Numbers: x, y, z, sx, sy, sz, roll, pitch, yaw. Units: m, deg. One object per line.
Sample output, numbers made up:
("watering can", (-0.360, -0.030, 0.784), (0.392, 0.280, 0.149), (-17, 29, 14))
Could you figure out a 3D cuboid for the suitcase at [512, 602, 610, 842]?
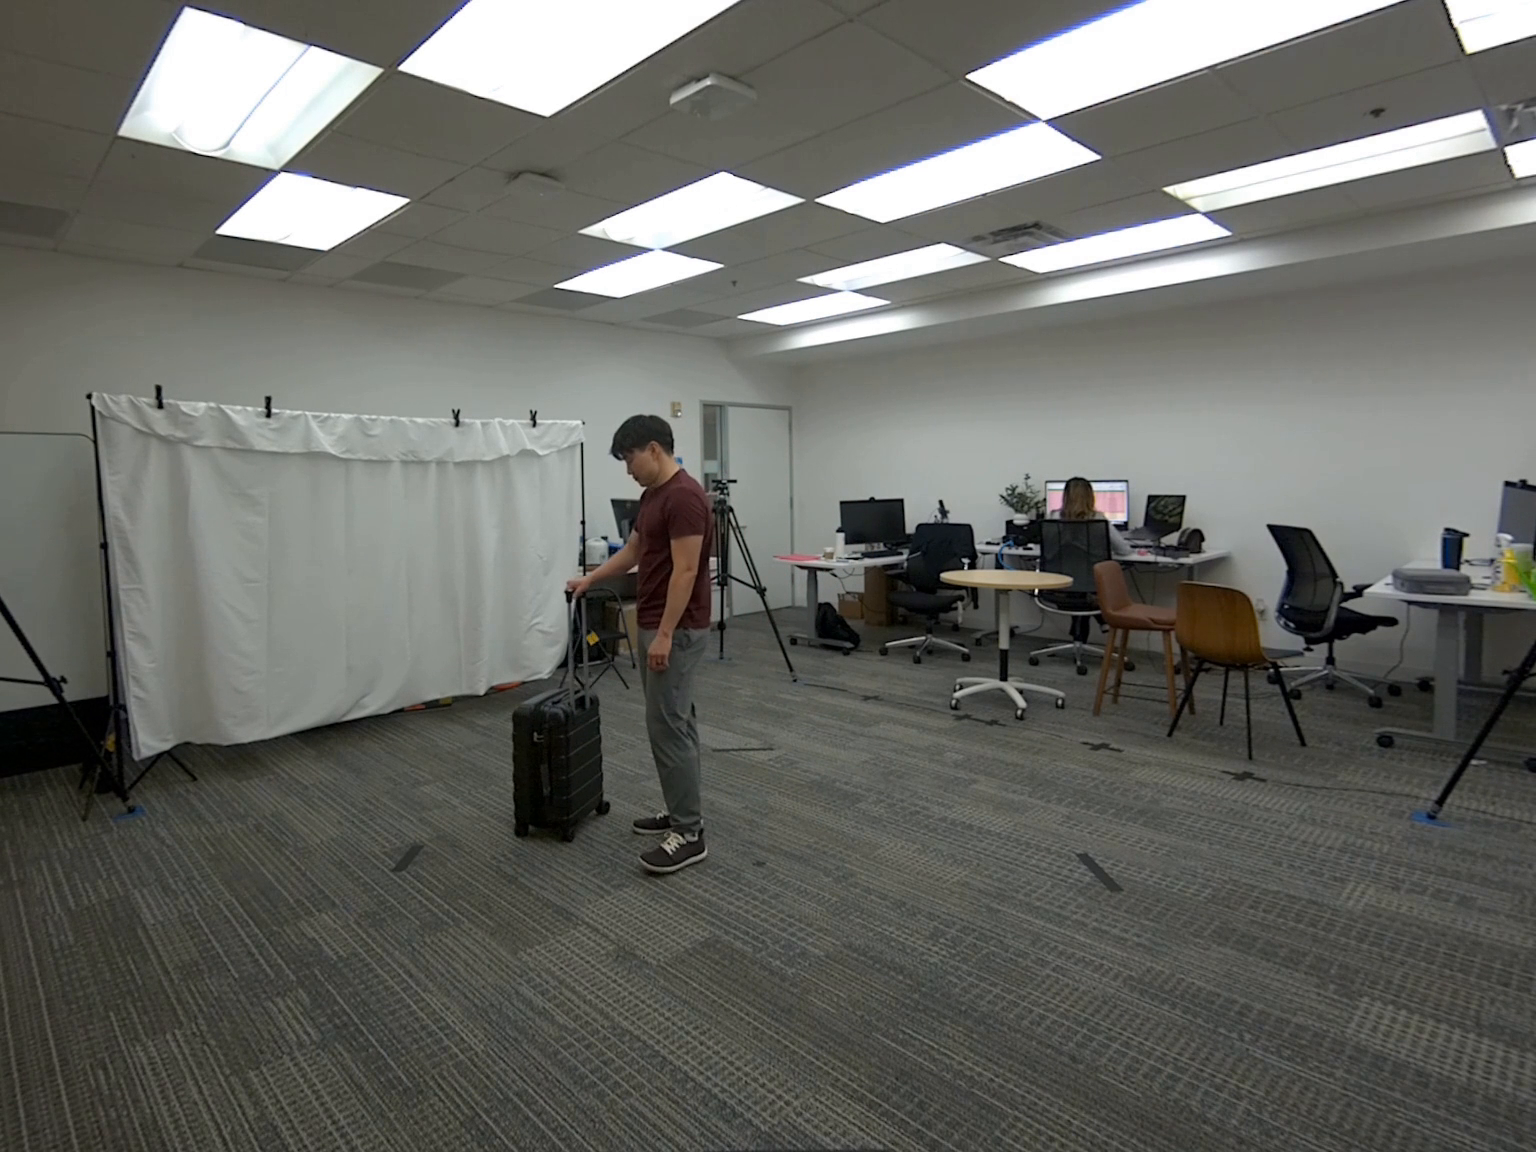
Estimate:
("suitcase", (-0.869, 0.549, 3.474), (0.261, 0.975, 0.380), (-3, 4, 15))
